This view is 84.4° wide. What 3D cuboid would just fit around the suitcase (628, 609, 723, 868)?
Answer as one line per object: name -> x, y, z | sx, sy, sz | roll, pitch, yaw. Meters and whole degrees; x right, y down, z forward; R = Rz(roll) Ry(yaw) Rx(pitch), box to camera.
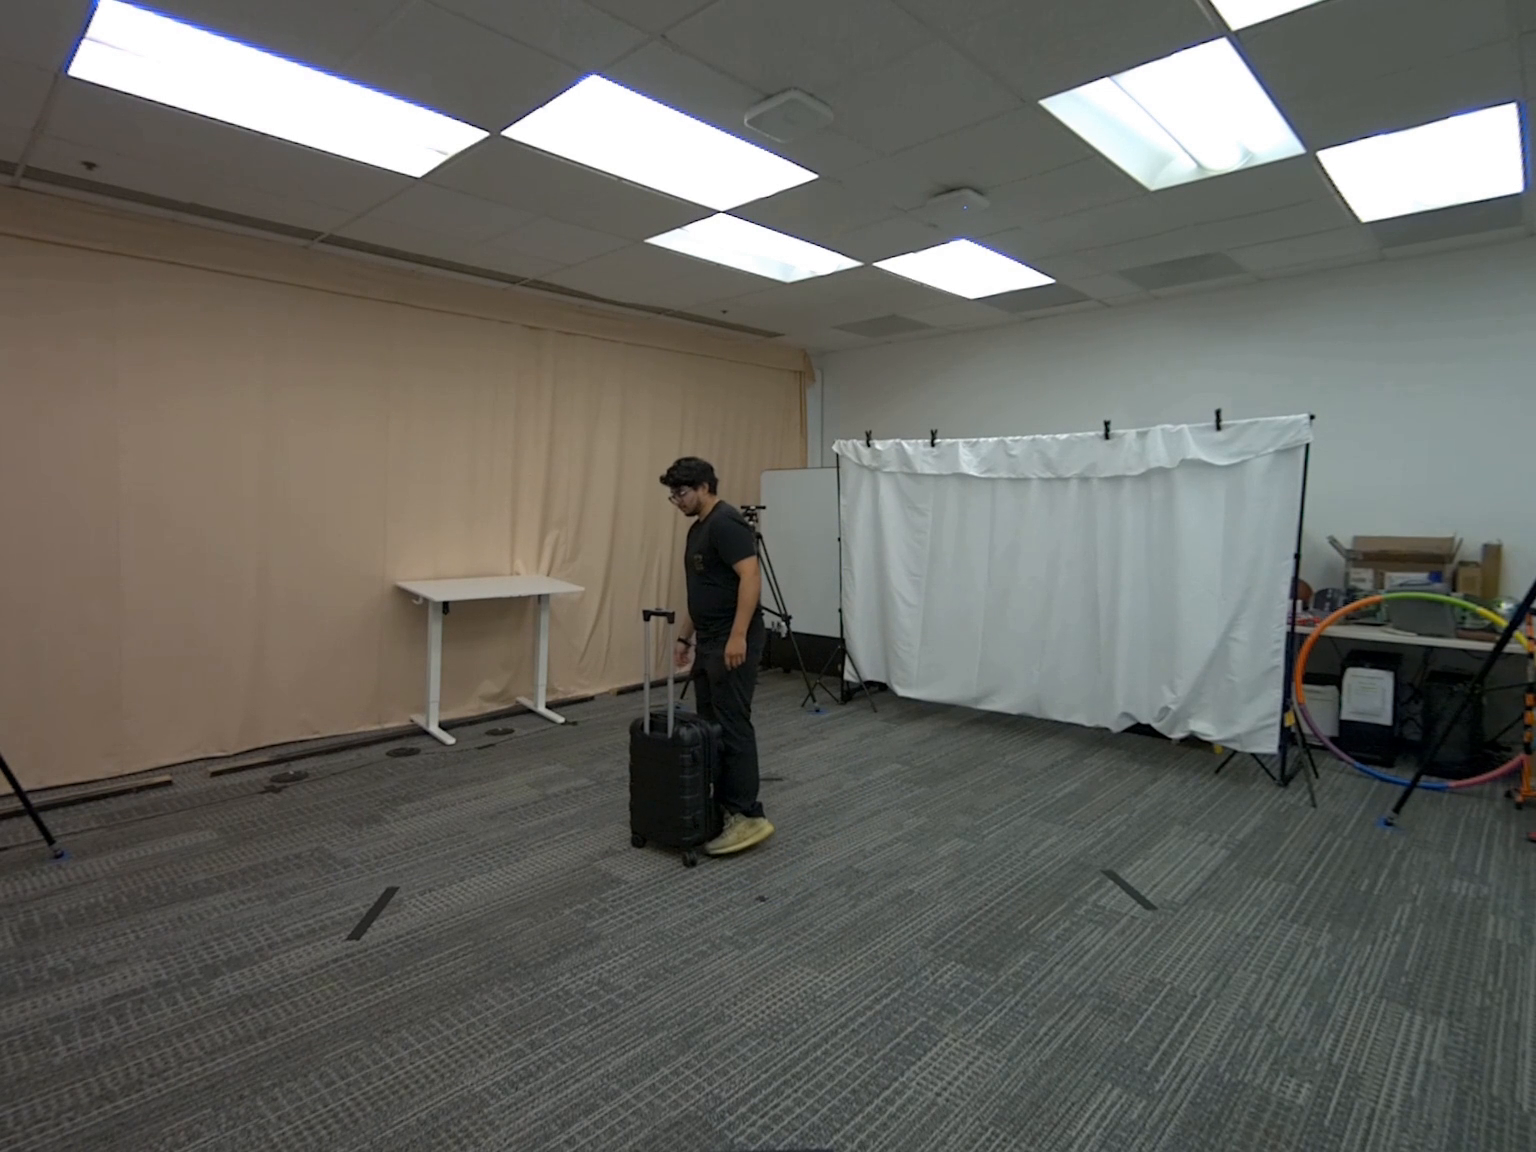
suitcase -> -0.383, 0.633, 3.435 | 0.396, 0.978, 0.249 | 1, 1, 36
